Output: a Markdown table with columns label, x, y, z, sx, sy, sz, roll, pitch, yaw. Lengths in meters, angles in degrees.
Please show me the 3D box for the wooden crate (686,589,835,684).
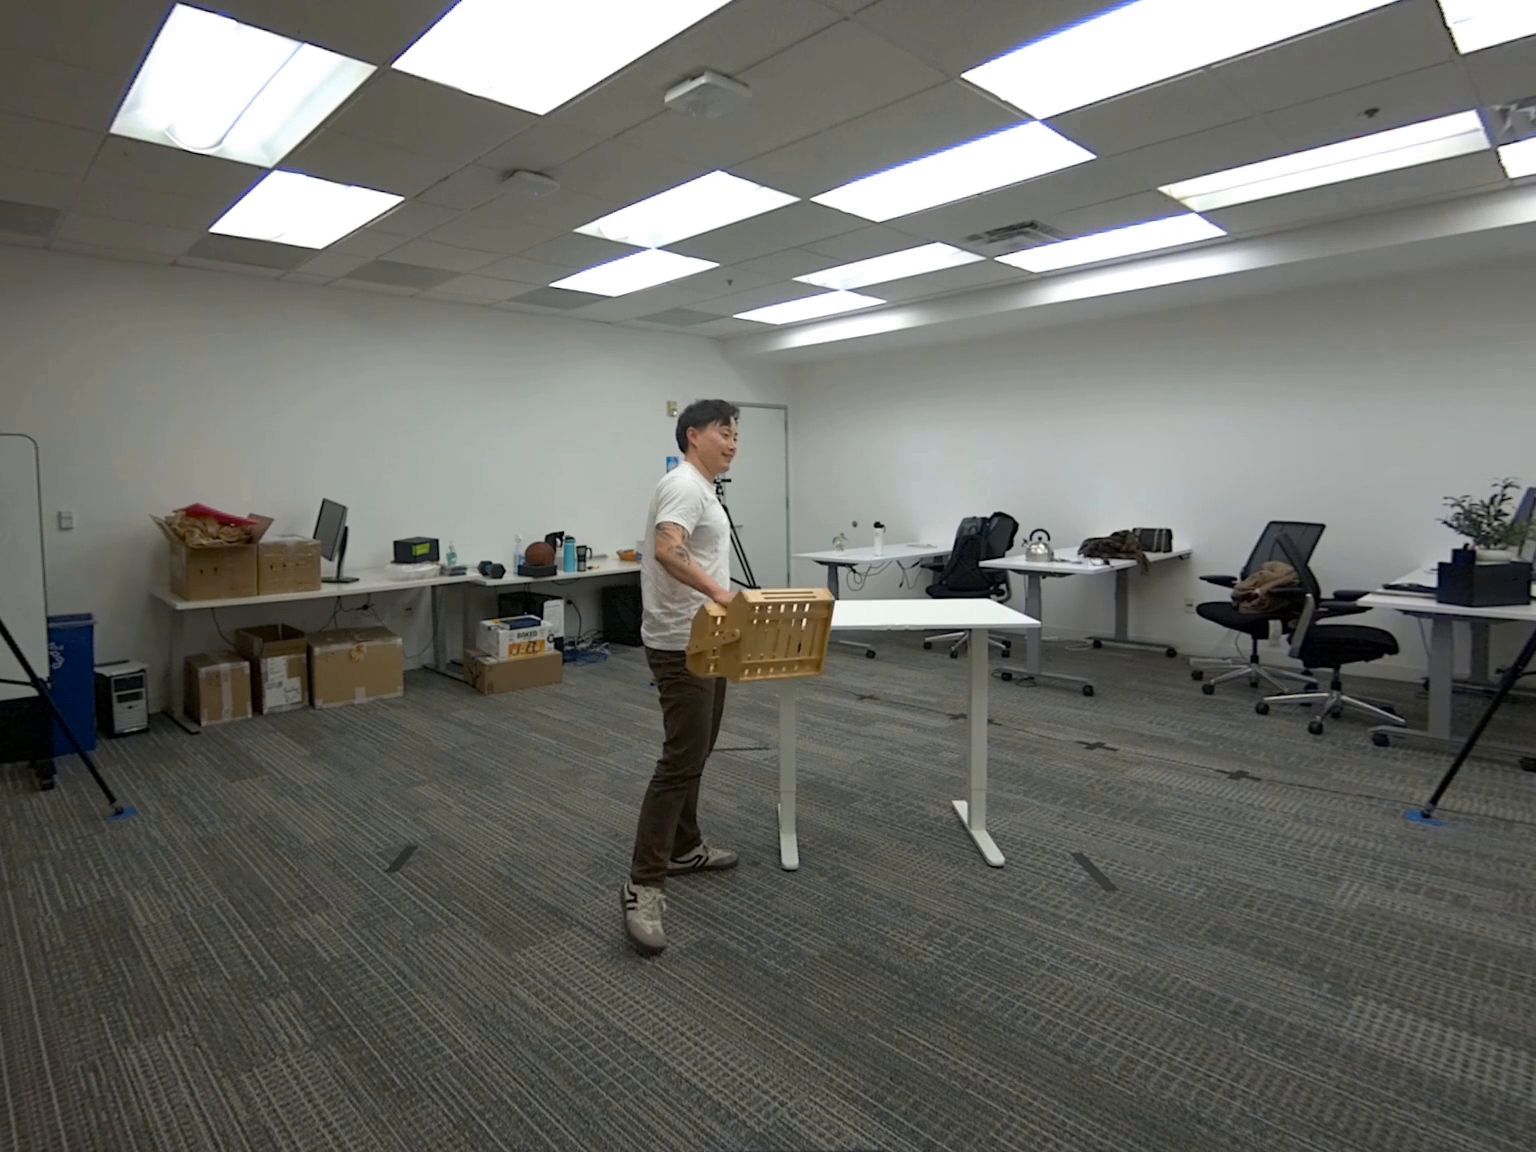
| label | x | y | z | sx | sy | sz | roll | pitch | yaw |
| --- | --- | --- | --- | --- | --- | --- | --- | --- | --- |
| wooden crate | -0.021 | 0.153 | 2.466 | 0.315 | 0.299 | 0.283 | 1 | 15 | -35 |
